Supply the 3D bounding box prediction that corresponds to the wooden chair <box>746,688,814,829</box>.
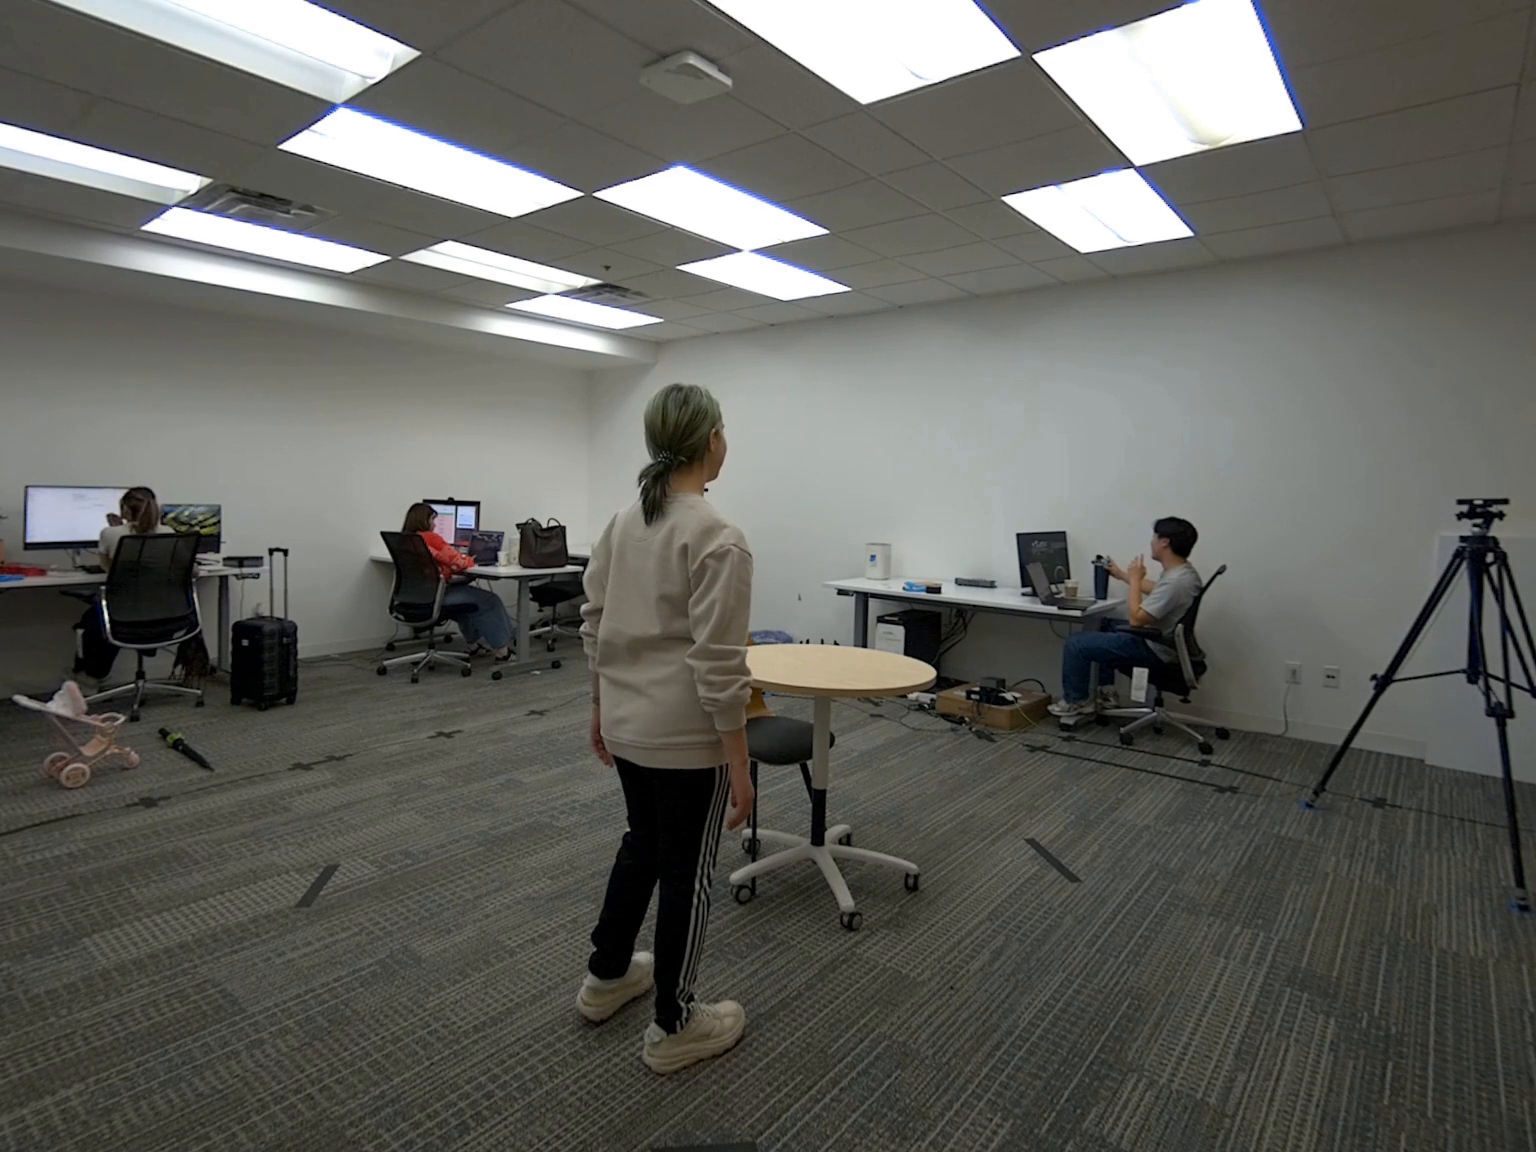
[{"bbox_3d":[-0.058,0.634,3.193,0.539,0.878,0.463,-1,0,44],"label":"wooden chair"}]
